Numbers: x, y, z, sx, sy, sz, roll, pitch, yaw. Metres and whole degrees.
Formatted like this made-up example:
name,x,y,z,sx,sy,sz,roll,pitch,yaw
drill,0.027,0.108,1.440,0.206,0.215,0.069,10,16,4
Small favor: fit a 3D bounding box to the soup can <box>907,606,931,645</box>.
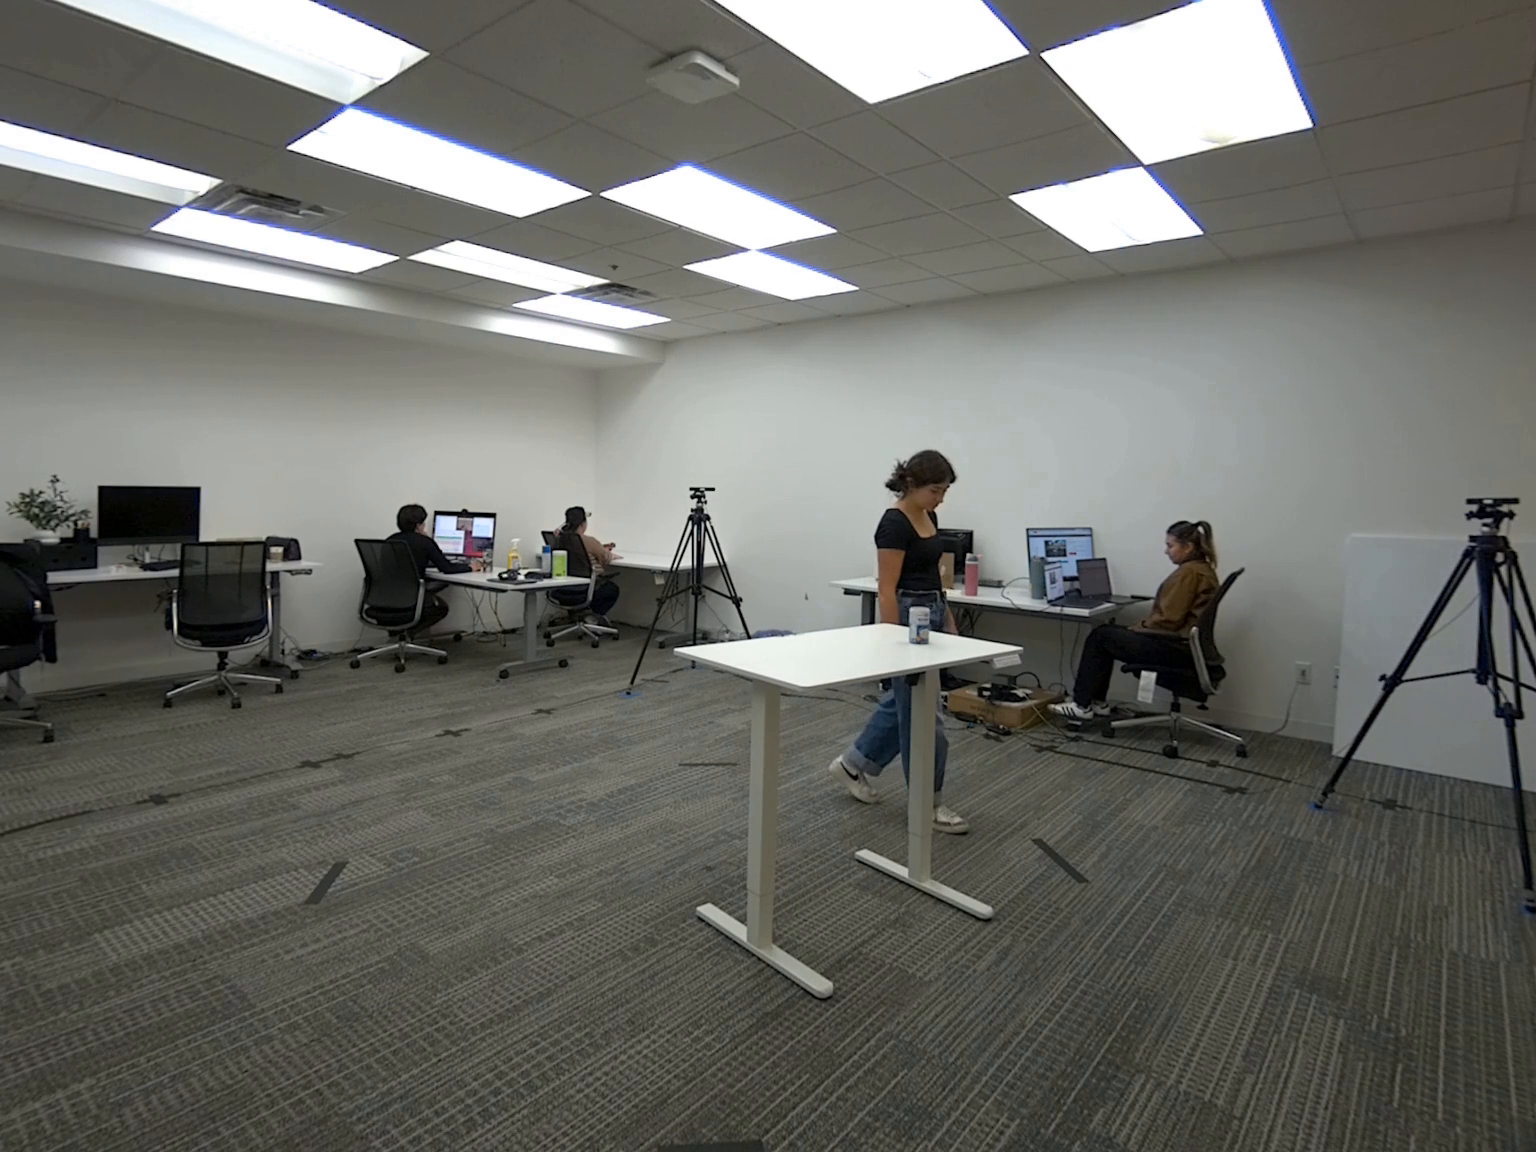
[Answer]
name,x,y,z,sx,sy,sz,roll,pitch,yaw
soup can,0.503,0.166,2.857,0.067,0.121,0.067,-2,4,-2
